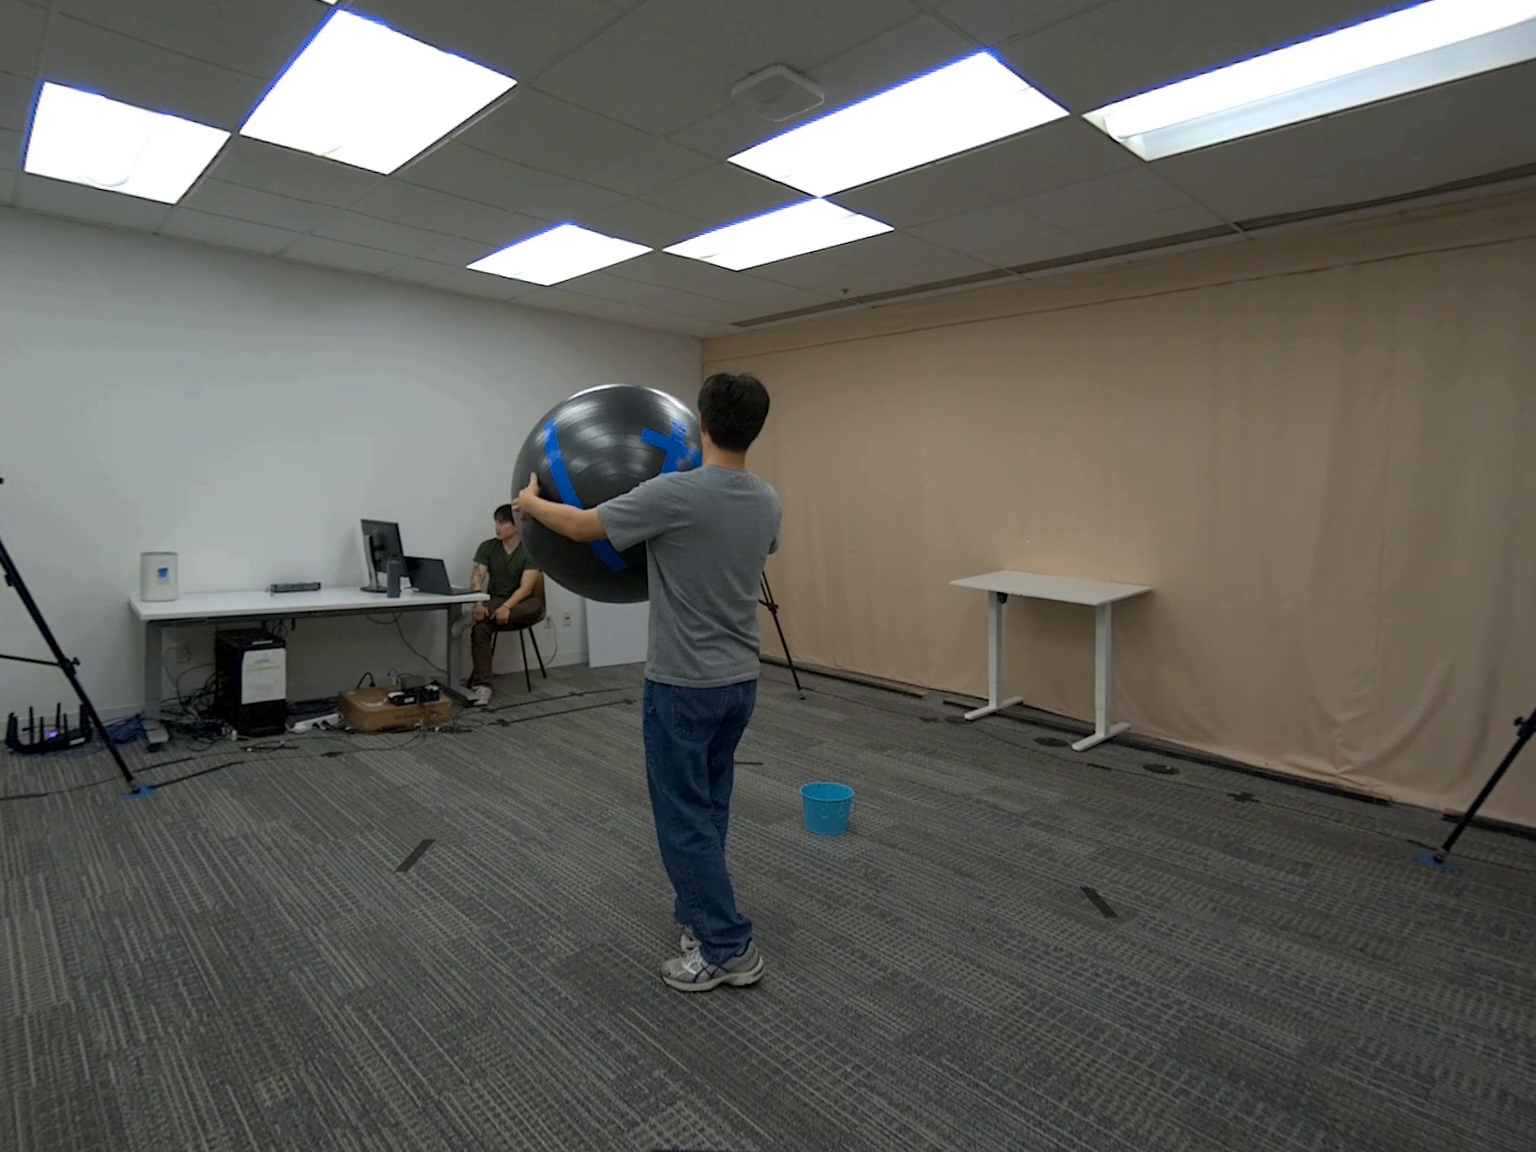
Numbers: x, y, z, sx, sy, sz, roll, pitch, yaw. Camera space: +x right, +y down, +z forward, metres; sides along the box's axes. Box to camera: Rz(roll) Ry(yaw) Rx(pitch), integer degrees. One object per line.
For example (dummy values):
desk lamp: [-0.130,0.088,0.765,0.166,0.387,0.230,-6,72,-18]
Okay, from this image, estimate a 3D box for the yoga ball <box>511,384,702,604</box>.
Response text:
yoga ball: [-0.511,-0.280,2.929,0.757,0.756,0.761,1,4,-1]
